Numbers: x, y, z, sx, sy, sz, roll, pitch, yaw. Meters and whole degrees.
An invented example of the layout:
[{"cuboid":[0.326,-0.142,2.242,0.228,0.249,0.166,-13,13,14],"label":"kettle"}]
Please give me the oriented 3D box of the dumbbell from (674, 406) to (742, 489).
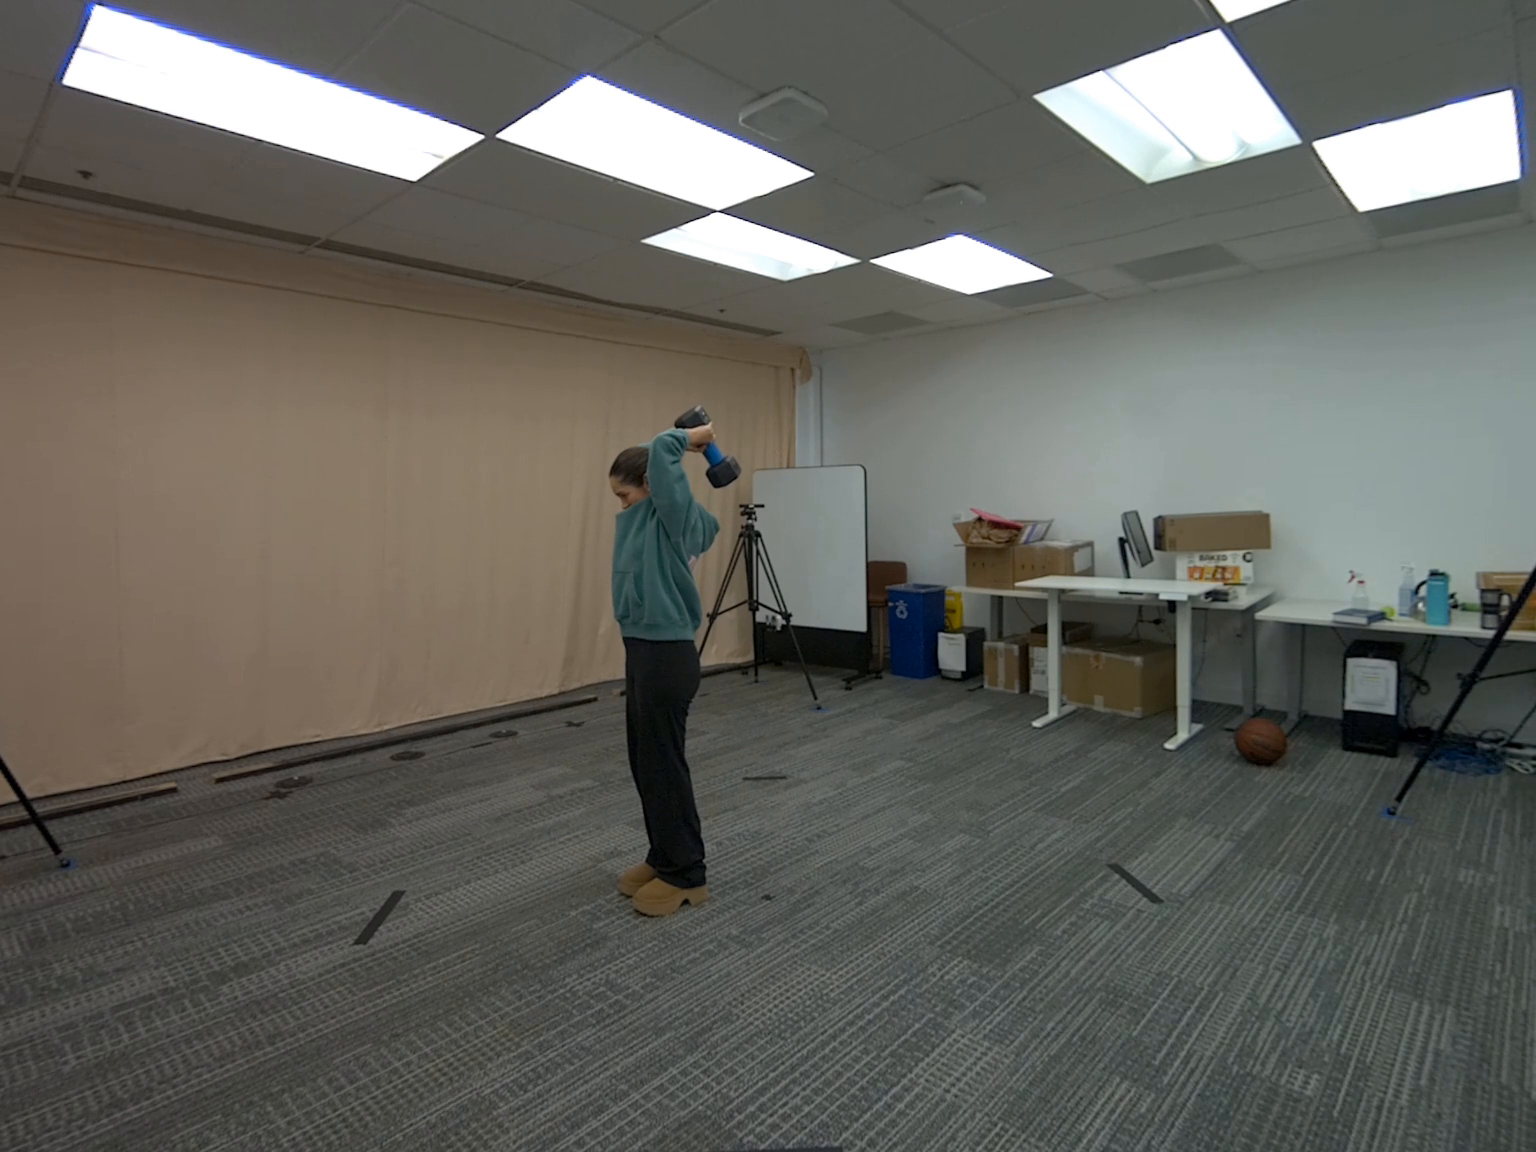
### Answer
[{"cuboid":[-0.215,-0.461,3.033,0.122,0.289,0.111,-36,14,-5],"label":"dumbbell"}]
